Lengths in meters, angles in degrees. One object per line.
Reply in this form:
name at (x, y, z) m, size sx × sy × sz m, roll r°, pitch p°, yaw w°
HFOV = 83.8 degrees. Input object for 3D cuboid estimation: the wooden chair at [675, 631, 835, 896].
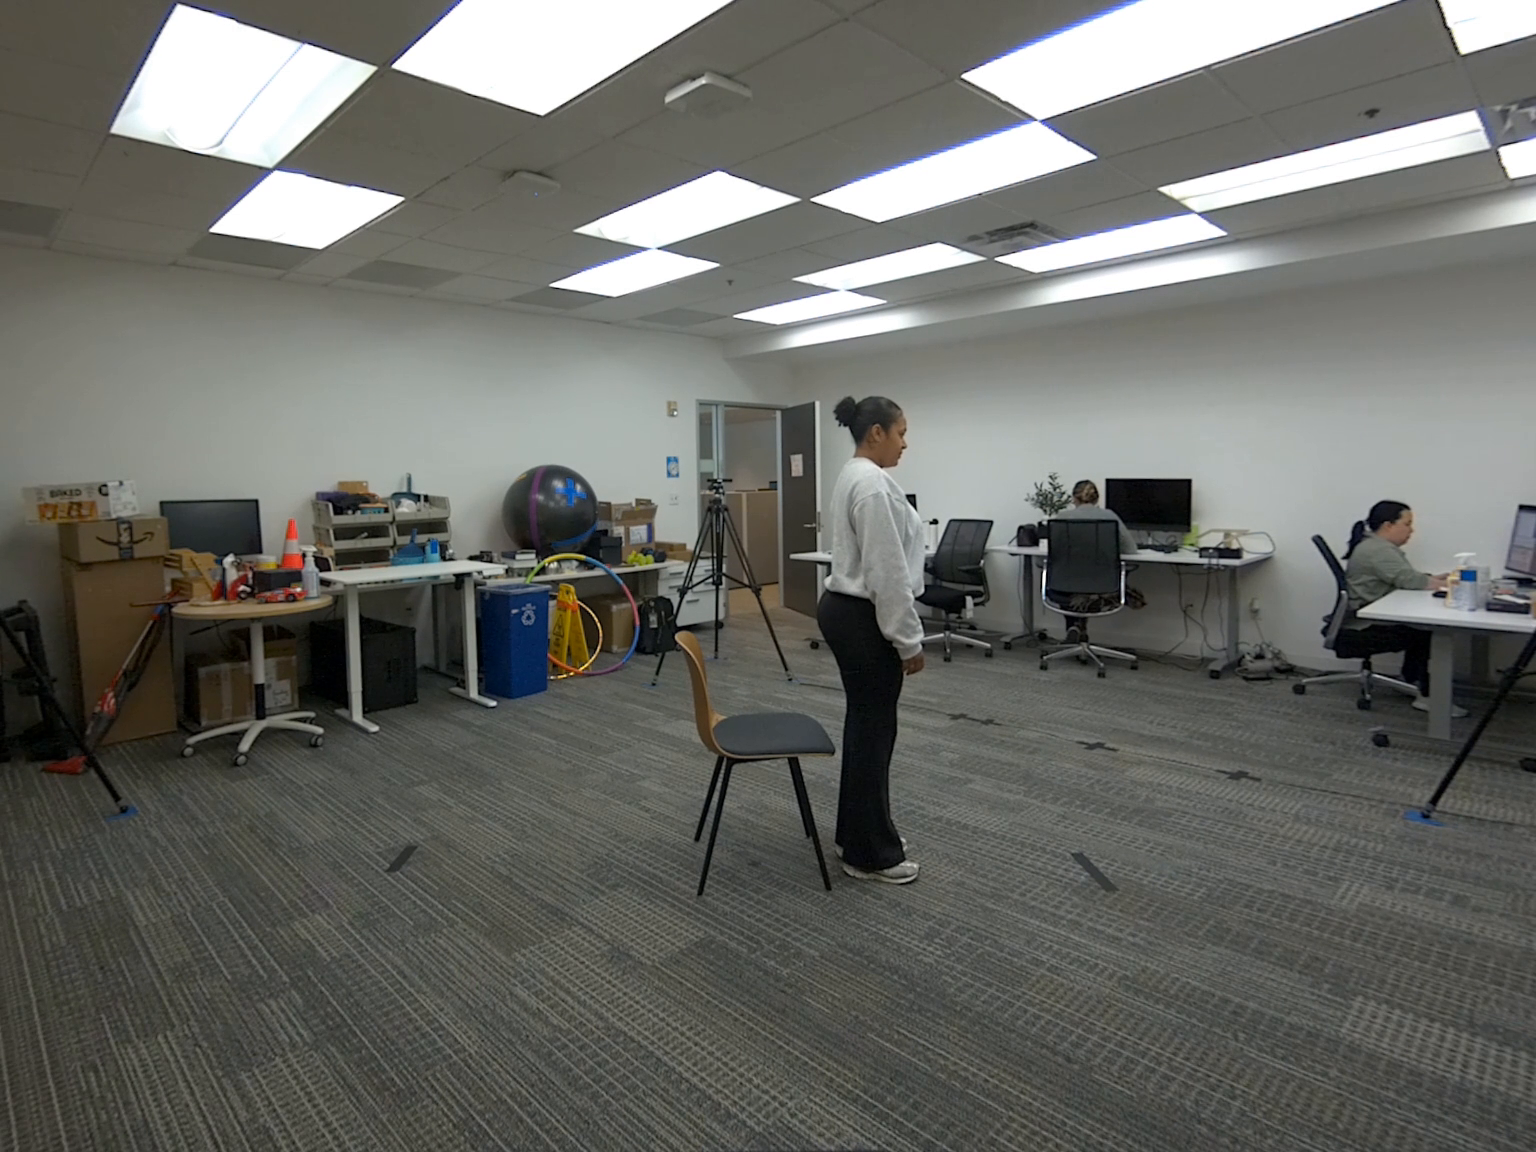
wooden chair at (-0.034, 0.617, 3.070) m, size 0.521 × 0.874 × 0.482 m, roll -5°, pitch 4°, yaw -5°
